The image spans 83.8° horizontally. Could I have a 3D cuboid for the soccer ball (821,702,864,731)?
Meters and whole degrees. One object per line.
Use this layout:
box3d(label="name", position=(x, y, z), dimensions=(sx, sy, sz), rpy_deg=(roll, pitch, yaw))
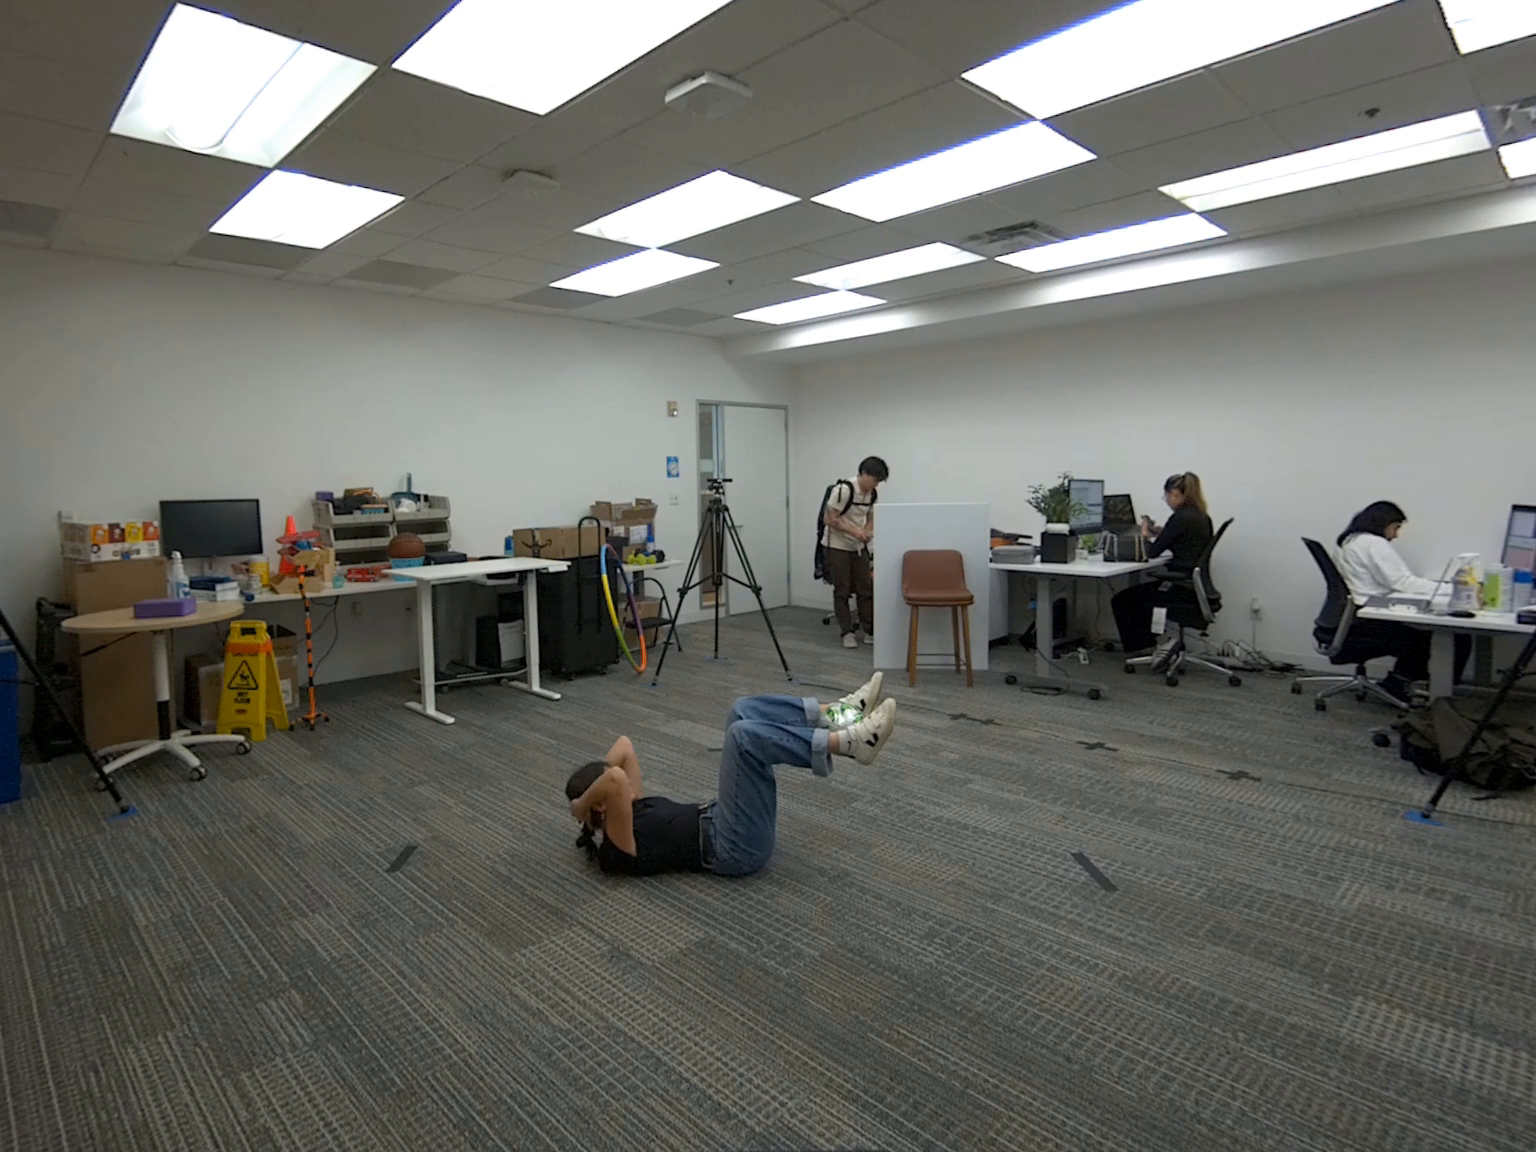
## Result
box3d(label="soccer ball", position=(0.279, 0.551, 3.071), dimensions=(0.187, 0.187, 0.188), rpy_deg=(0, 1, -2))
